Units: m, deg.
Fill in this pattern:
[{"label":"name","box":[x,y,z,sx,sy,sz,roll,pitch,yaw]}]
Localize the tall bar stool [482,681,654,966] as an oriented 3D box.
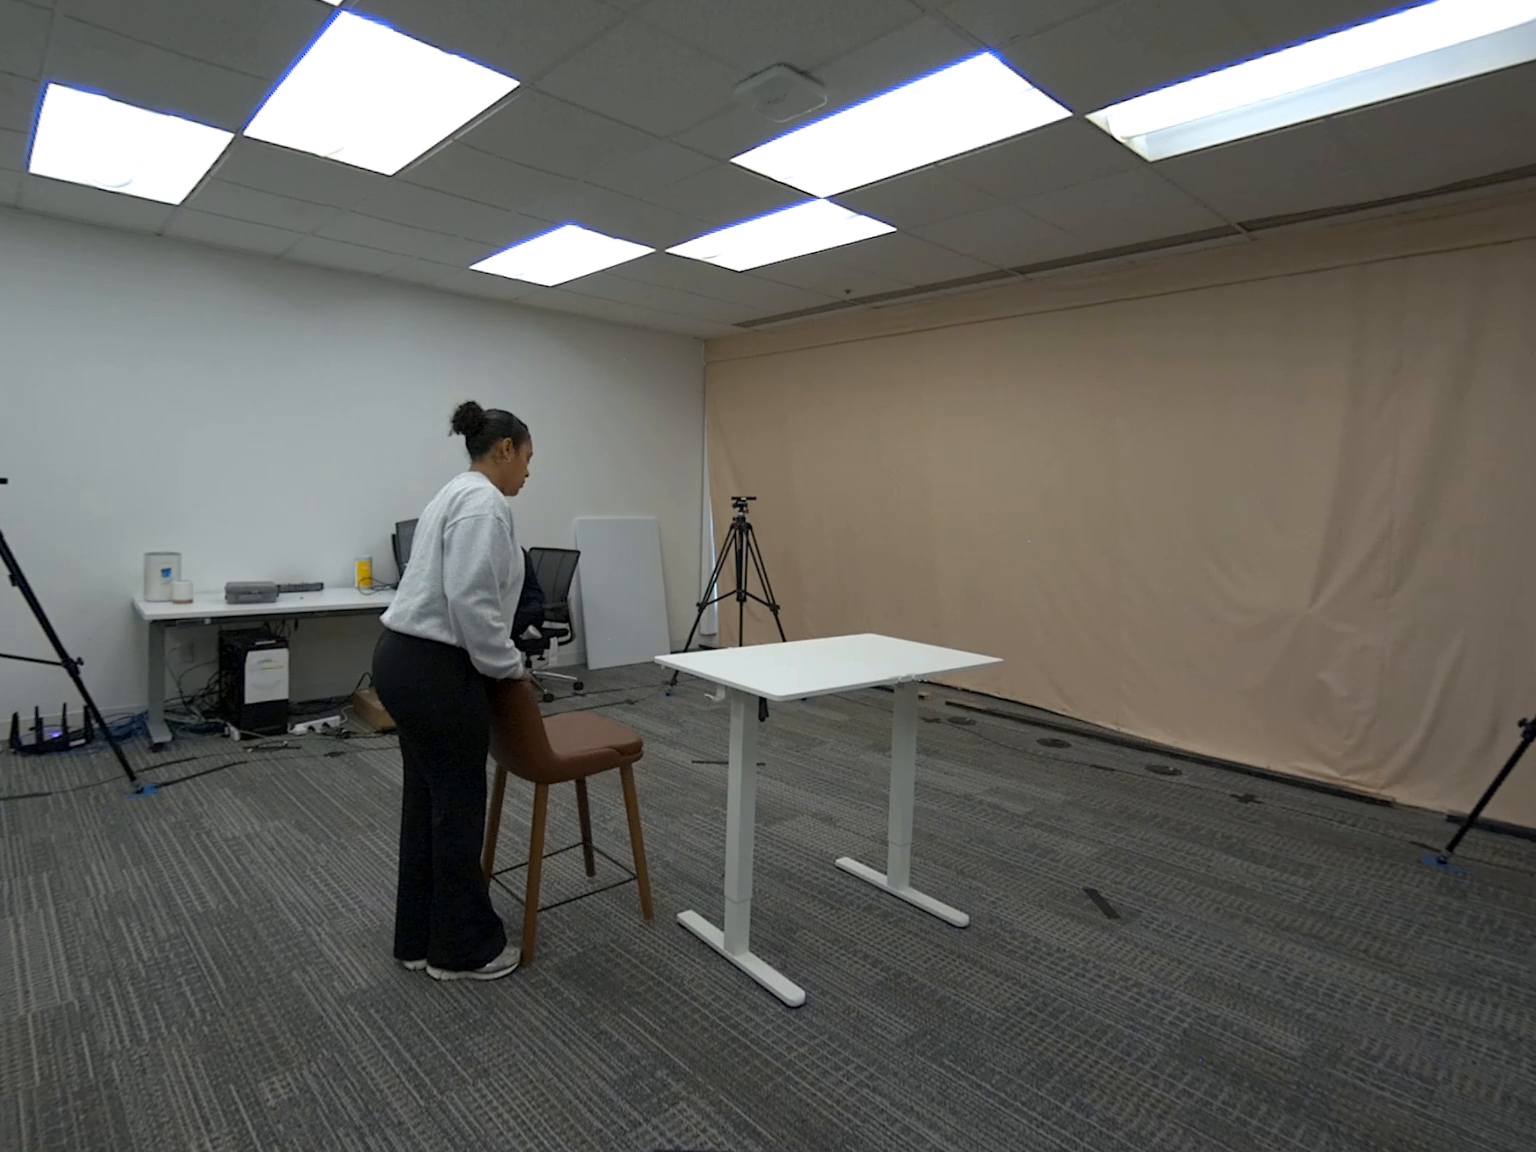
[{"label":"tall bar stool","box":[-0.678,0.688,2.715,0.458,0.886,0.468,-7,8,-40]}]
